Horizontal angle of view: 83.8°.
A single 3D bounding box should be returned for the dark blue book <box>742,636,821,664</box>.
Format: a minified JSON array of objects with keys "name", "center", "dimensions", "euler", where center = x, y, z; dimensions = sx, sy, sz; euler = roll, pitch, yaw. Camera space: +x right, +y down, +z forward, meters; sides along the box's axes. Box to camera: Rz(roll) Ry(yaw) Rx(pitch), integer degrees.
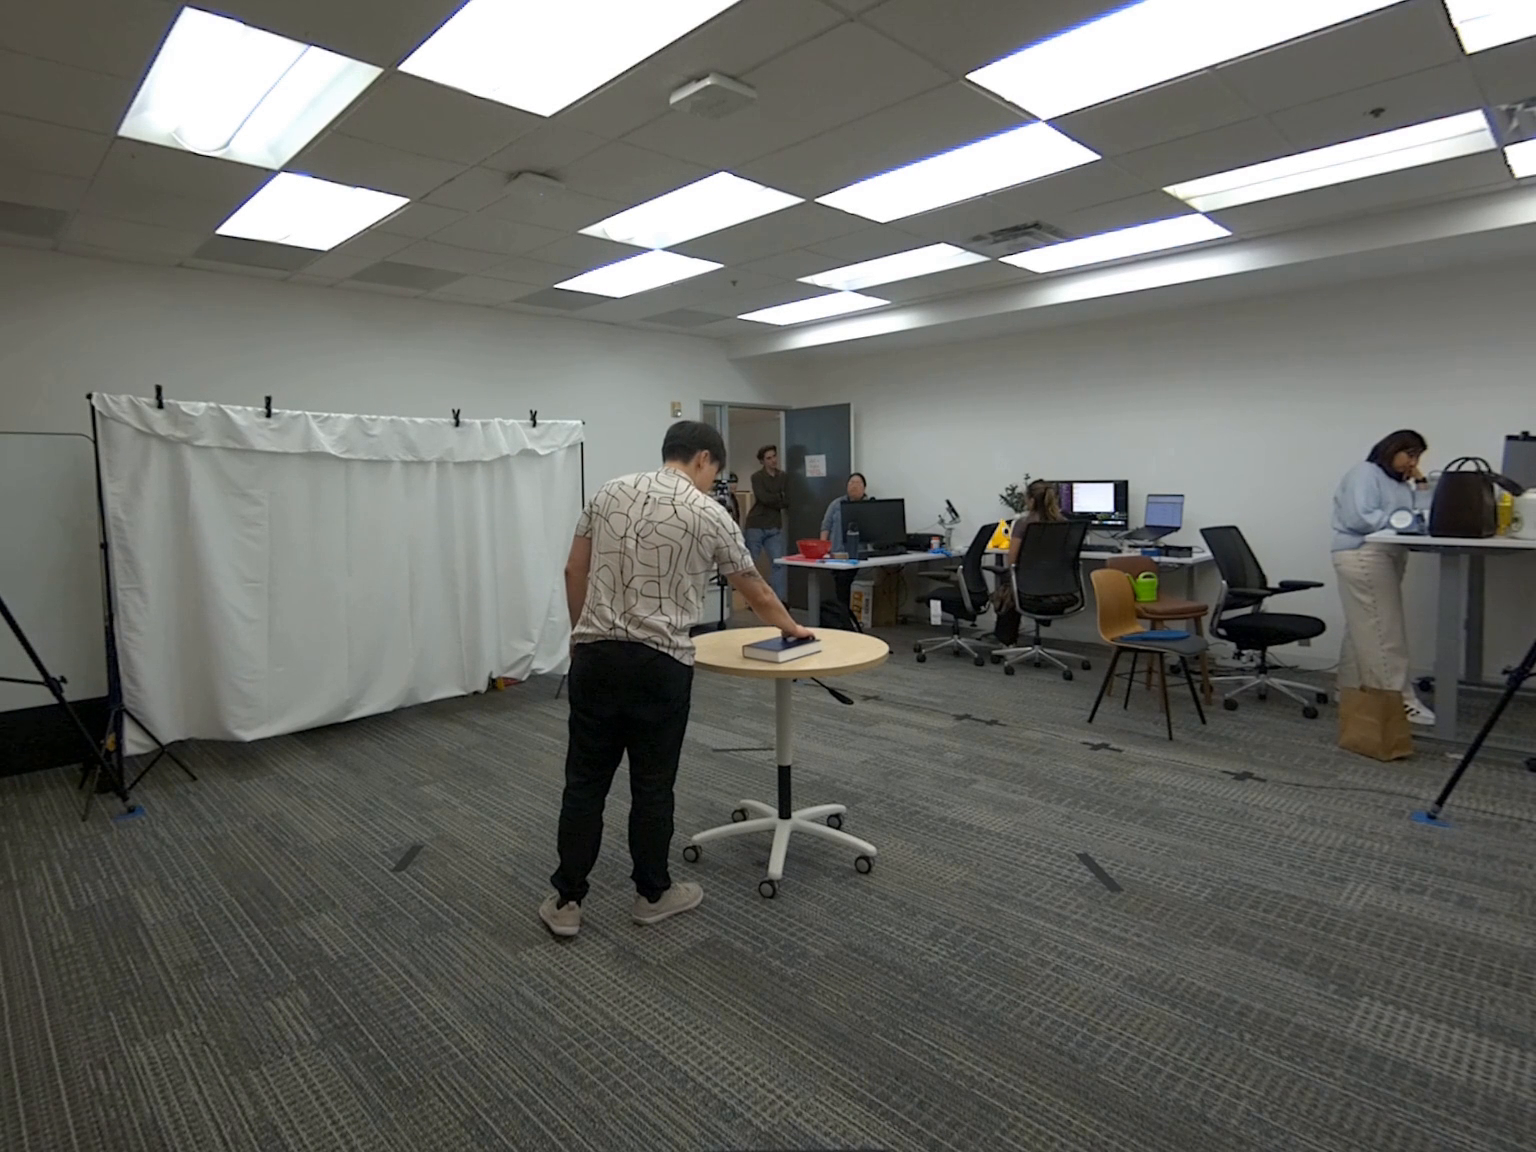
[{"name":"dark blue book","center":[0.049,0.255,2.983],"dimensions":[0.168,0.045,0.239],"euler":[5,8,39]}]
